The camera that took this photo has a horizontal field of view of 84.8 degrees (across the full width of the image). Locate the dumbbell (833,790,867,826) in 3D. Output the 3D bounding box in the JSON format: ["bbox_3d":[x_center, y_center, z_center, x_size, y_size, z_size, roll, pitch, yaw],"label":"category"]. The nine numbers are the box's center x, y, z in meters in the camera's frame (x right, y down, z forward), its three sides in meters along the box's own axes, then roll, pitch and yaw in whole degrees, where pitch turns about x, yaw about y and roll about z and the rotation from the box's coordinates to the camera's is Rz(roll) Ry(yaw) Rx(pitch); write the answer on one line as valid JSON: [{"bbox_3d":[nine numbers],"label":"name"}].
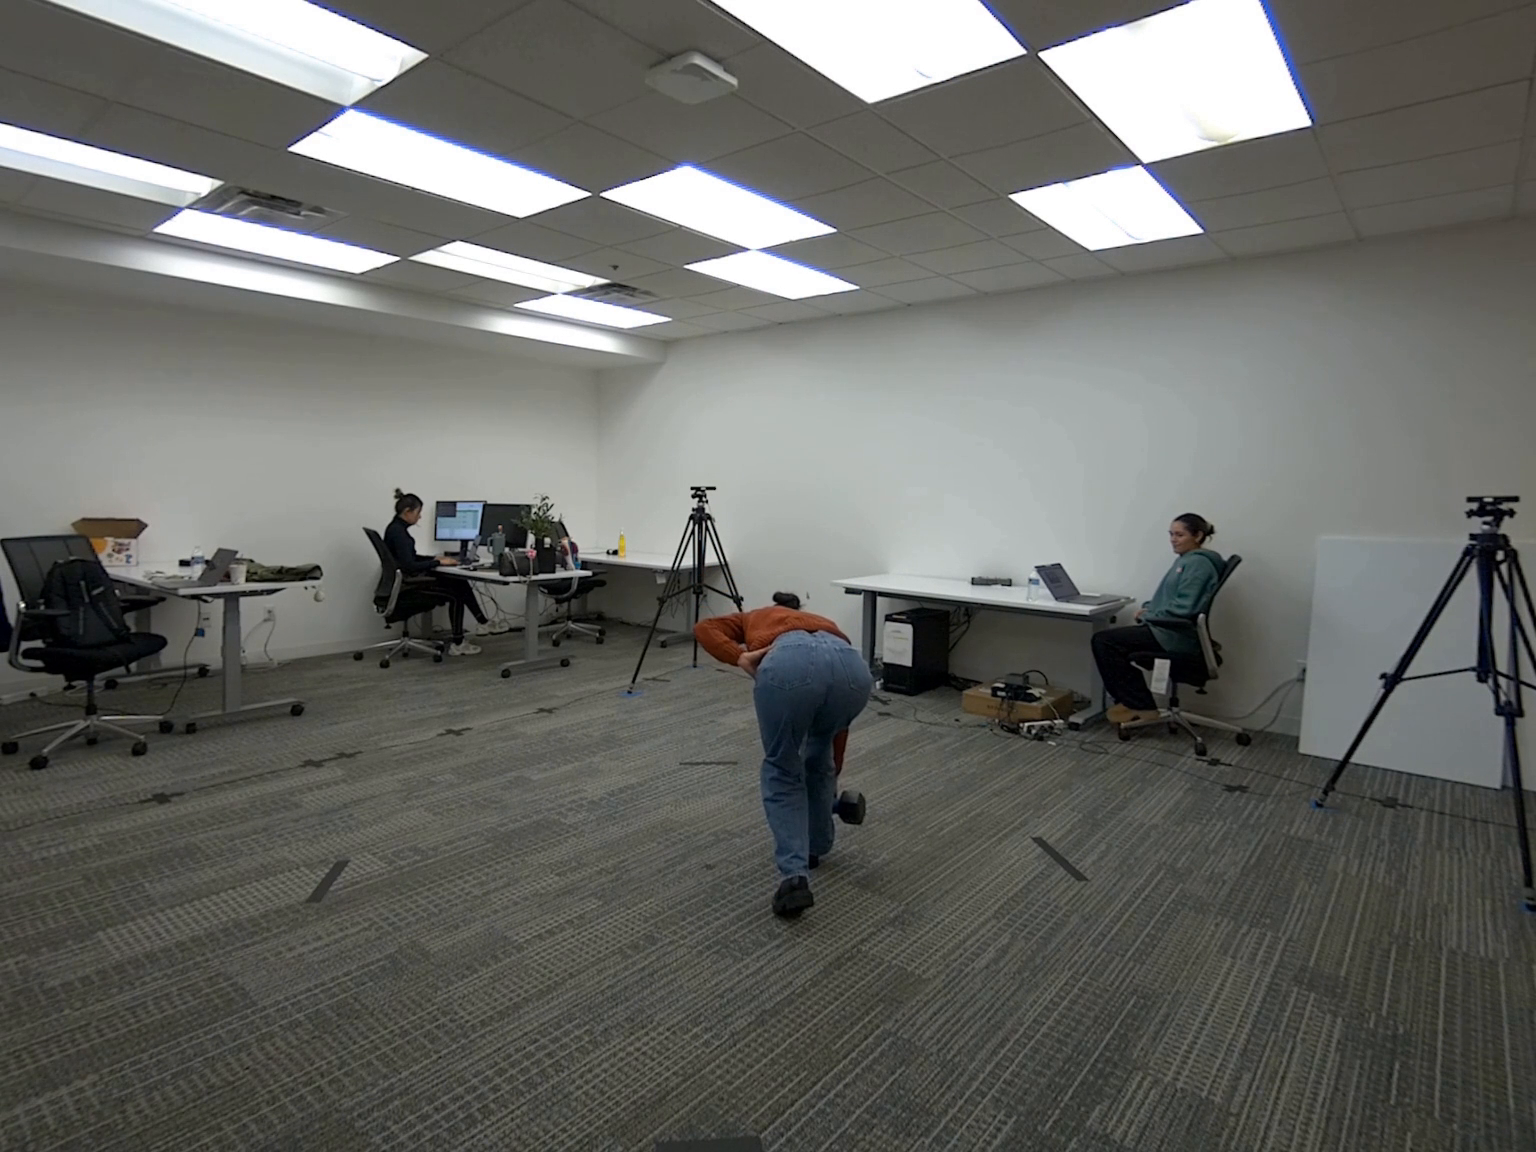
[{"bbox_3d":[0.213,0.870,3.237,0.300,0.123,0.106,-2,-2,24],"label":"dumbbell"}]
